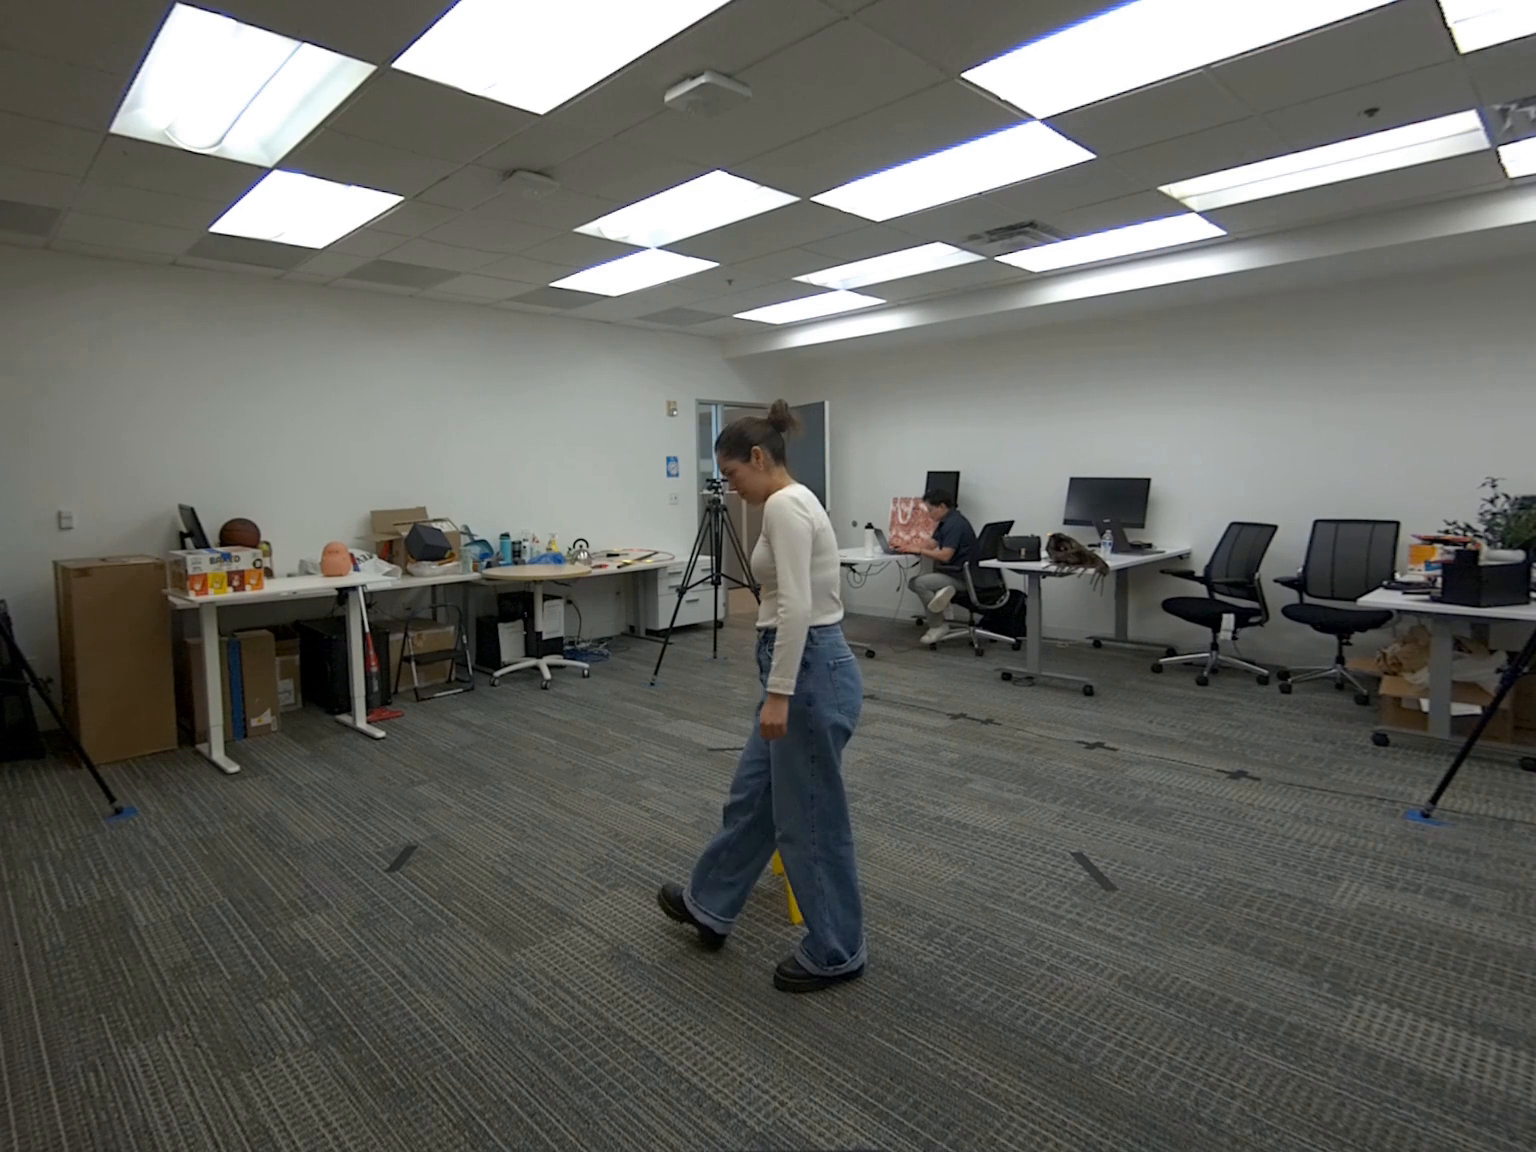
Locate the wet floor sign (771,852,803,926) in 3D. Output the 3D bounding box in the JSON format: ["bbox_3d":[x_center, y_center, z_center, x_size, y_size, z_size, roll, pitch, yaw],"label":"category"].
[{"bbox_3d":[0.078,0.749,2.848,0.299,0.643,0.275,4,6,44],"label":"wet floor sign"}]
